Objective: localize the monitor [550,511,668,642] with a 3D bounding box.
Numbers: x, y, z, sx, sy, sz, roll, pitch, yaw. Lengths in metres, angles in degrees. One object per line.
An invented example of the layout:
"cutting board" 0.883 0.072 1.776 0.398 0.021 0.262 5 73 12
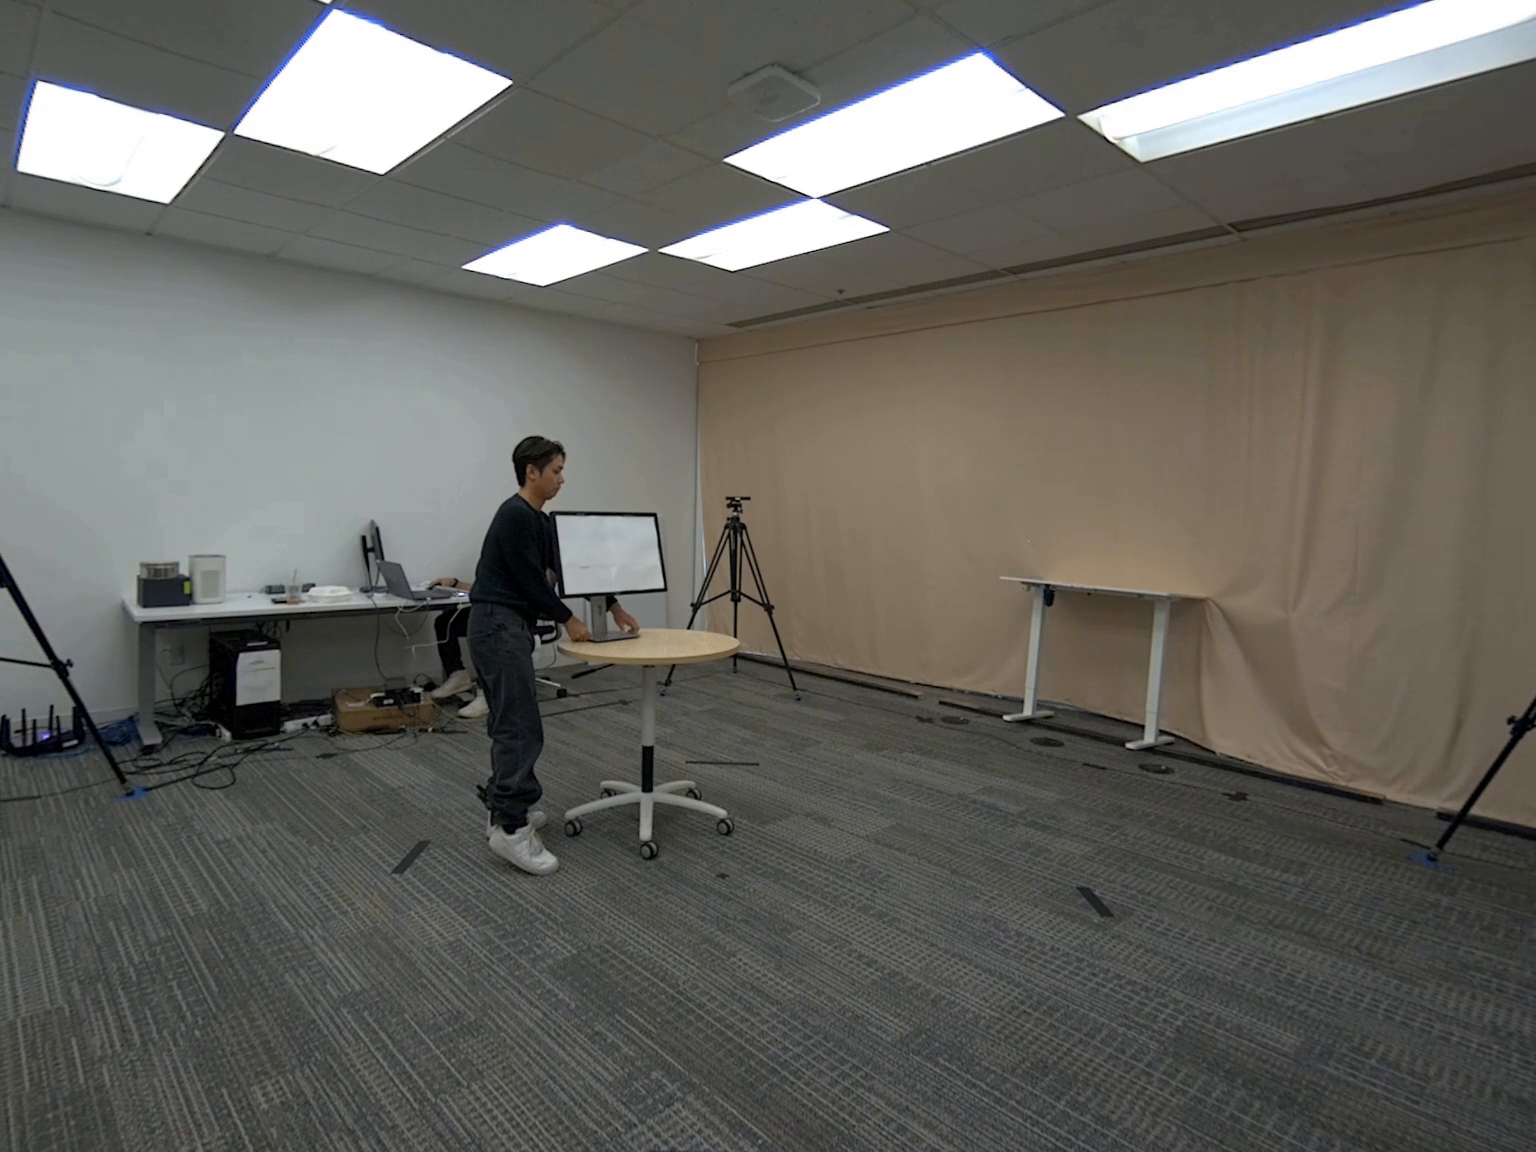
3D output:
"monitor" -0.702 -0.007 3.642 0.192 0.522 0.527 2 4 42
